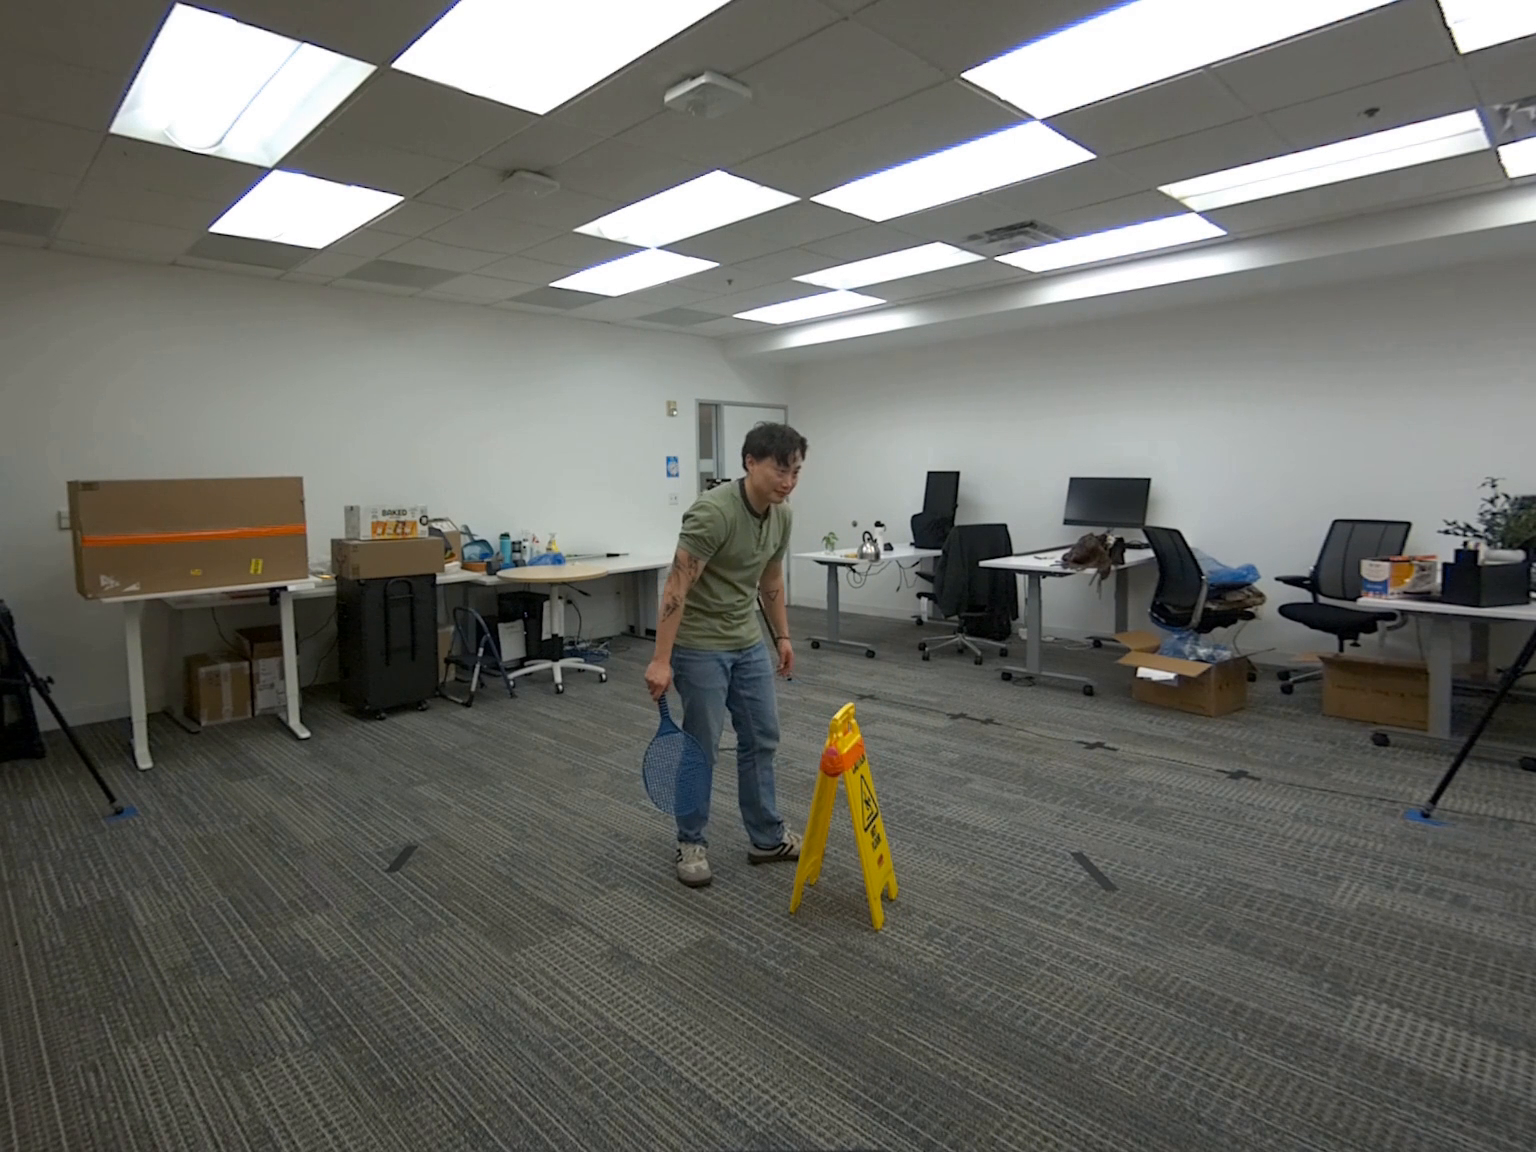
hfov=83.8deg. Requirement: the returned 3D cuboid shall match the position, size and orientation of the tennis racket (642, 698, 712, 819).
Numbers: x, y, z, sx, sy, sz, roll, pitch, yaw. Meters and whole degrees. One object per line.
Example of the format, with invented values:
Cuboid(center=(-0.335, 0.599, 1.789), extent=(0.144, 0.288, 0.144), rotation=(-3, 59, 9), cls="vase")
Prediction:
Cuboid(center=(-0.297, 0.543, 2.751), extent=(0.212, 0.435, 0.032), rotation=(5, -6, -6), cls="tennis racket")
